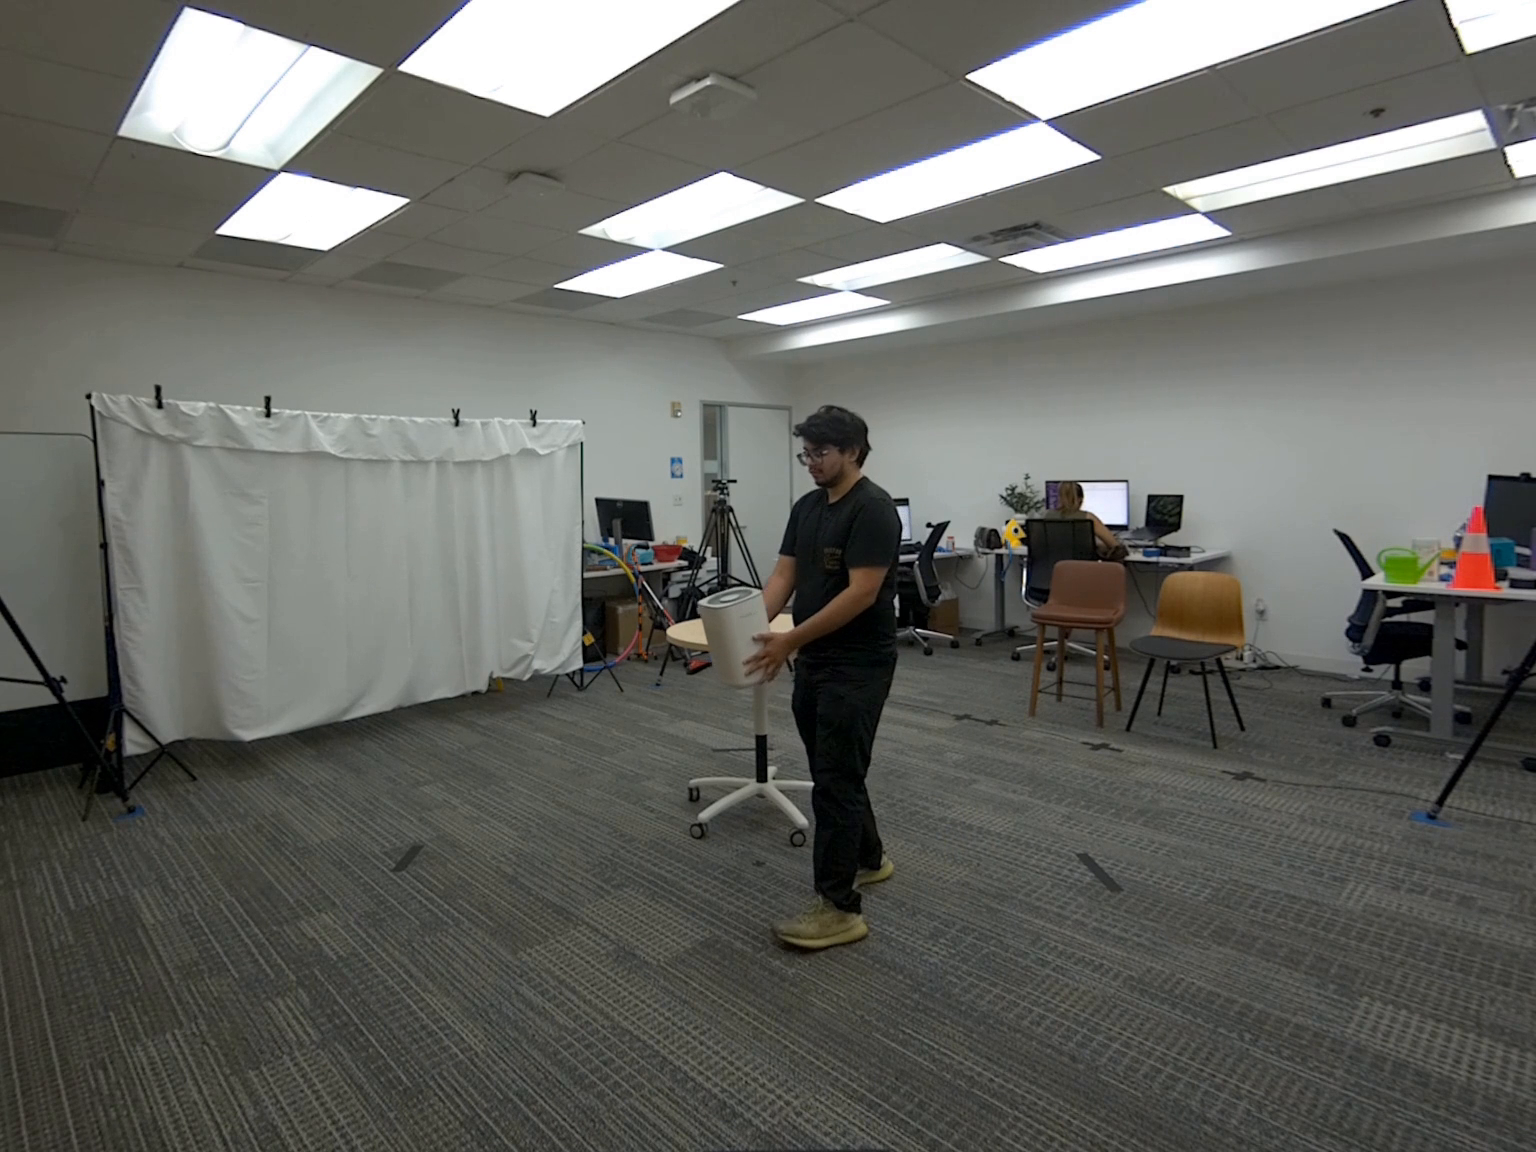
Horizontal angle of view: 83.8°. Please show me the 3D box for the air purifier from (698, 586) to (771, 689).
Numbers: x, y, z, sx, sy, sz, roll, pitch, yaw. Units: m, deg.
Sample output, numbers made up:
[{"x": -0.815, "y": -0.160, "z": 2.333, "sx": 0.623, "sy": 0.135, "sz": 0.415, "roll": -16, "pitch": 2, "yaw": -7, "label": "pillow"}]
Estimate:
[{"x": -0.081, "y": 0.185, "z": 2.565, "sx": 0.168, "sy": 0.262, "sz": 0.176, "roll": -19, "pitch": 12, "yaw": -31, "label": "air purifier"}]
